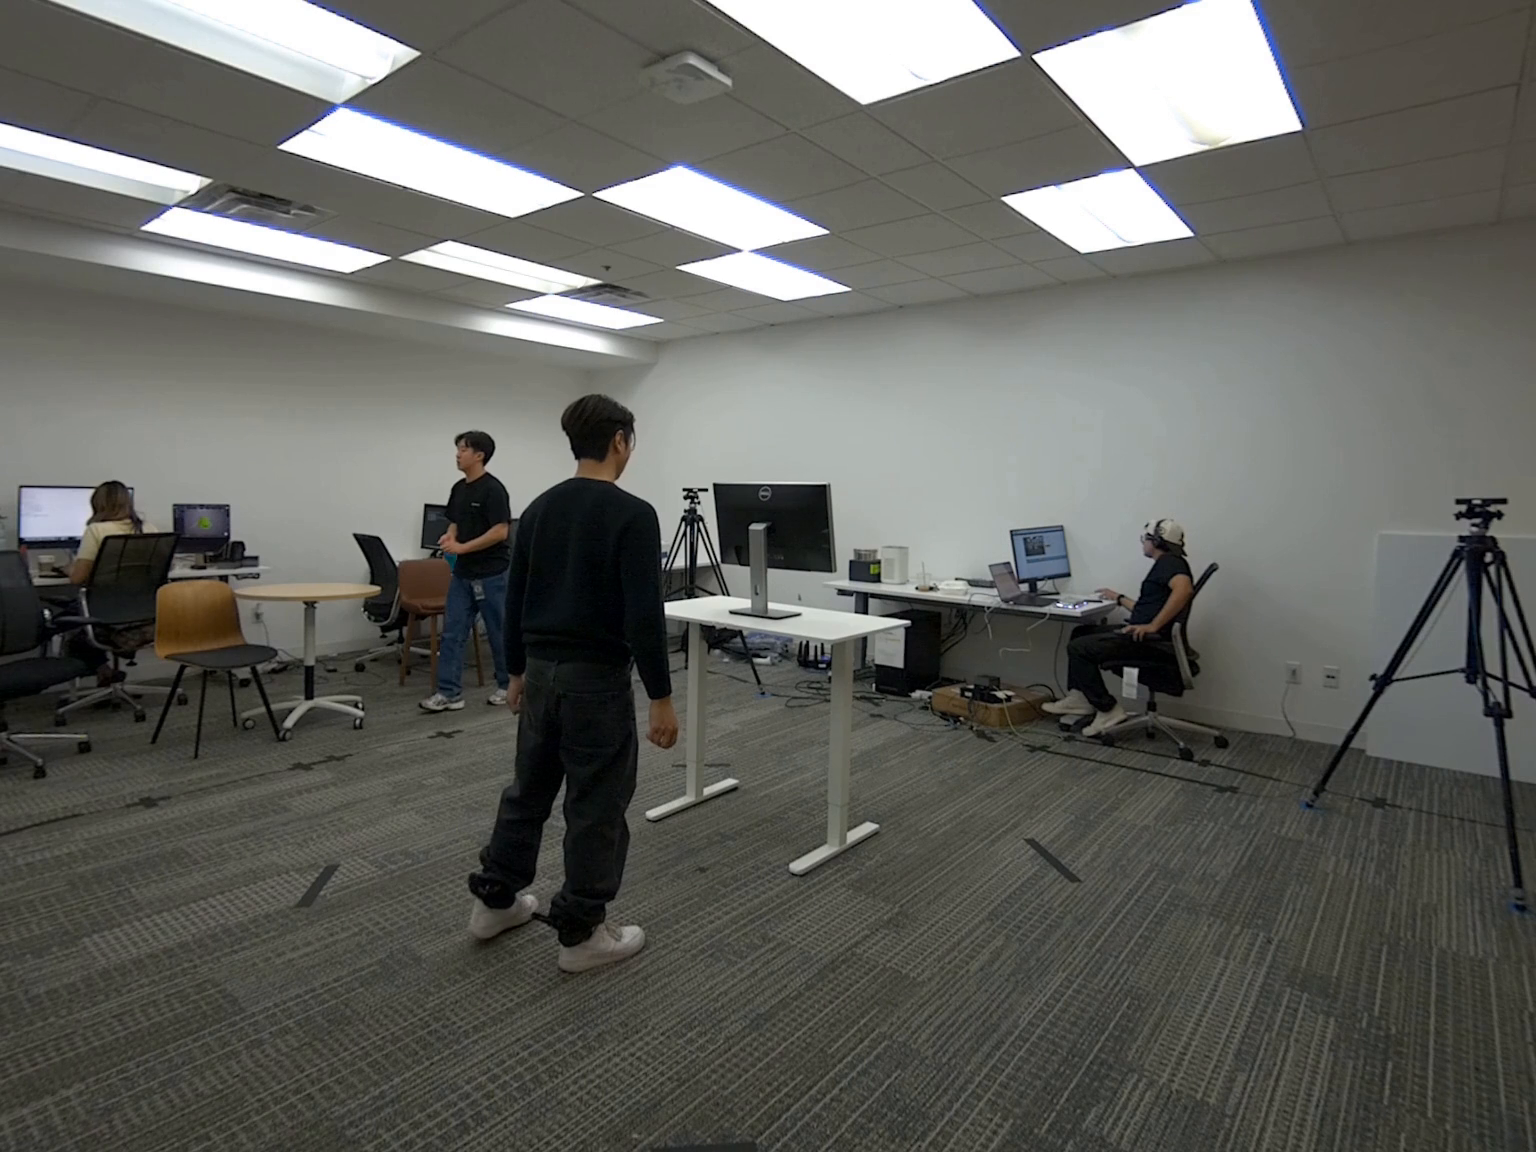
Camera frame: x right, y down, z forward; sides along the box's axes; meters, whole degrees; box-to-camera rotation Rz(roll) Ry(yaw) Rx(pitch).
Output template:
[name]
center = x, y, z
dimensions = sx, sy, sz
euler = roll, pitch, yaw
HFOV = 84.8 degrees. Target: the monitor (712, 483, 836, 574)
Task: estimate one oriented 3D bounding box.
[monitor]
center = -0.016, -0.111, 3.478
dimensions = 0.556, 0.522, 0.182
euler = 4, 2, 33
